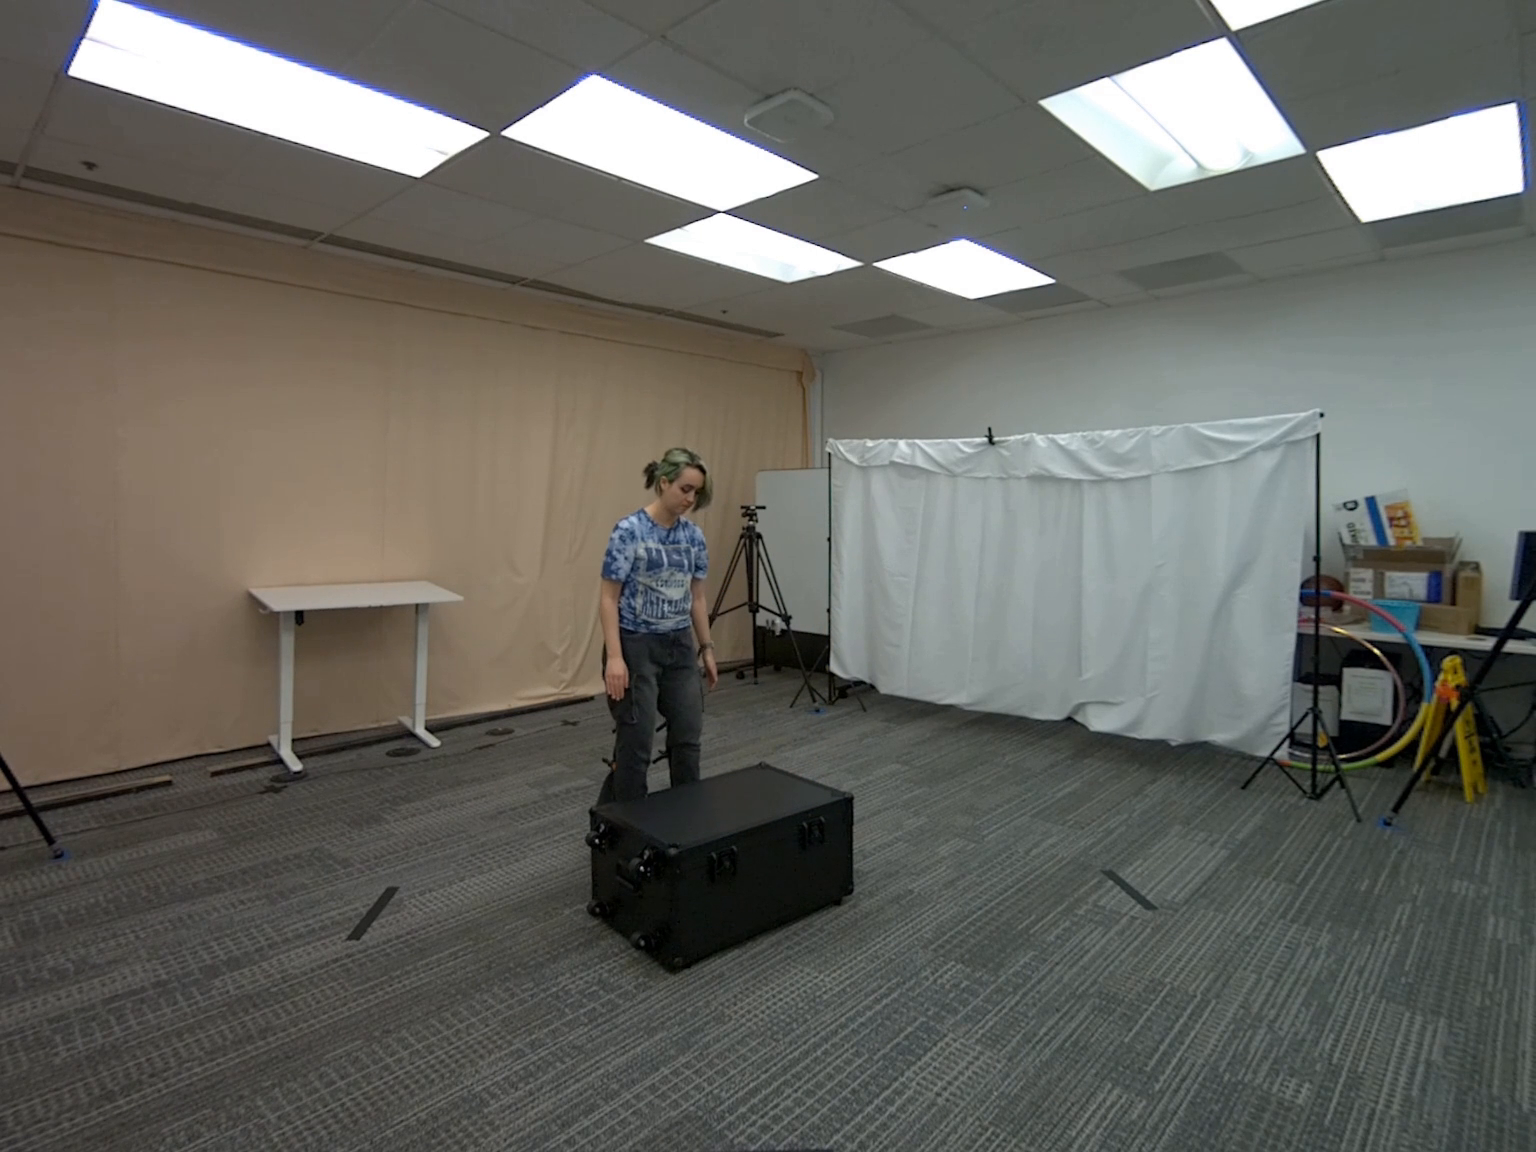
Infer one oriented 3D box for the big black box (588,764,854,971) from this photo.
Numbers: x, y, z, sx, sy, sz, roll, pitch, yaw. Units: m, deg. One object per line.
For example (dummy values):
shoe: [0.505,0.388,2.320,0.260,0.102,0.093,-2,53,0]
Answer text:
big black box: [-0.170,0.963,2.882,0.835,0.395,0.538,-3,5,-40]
